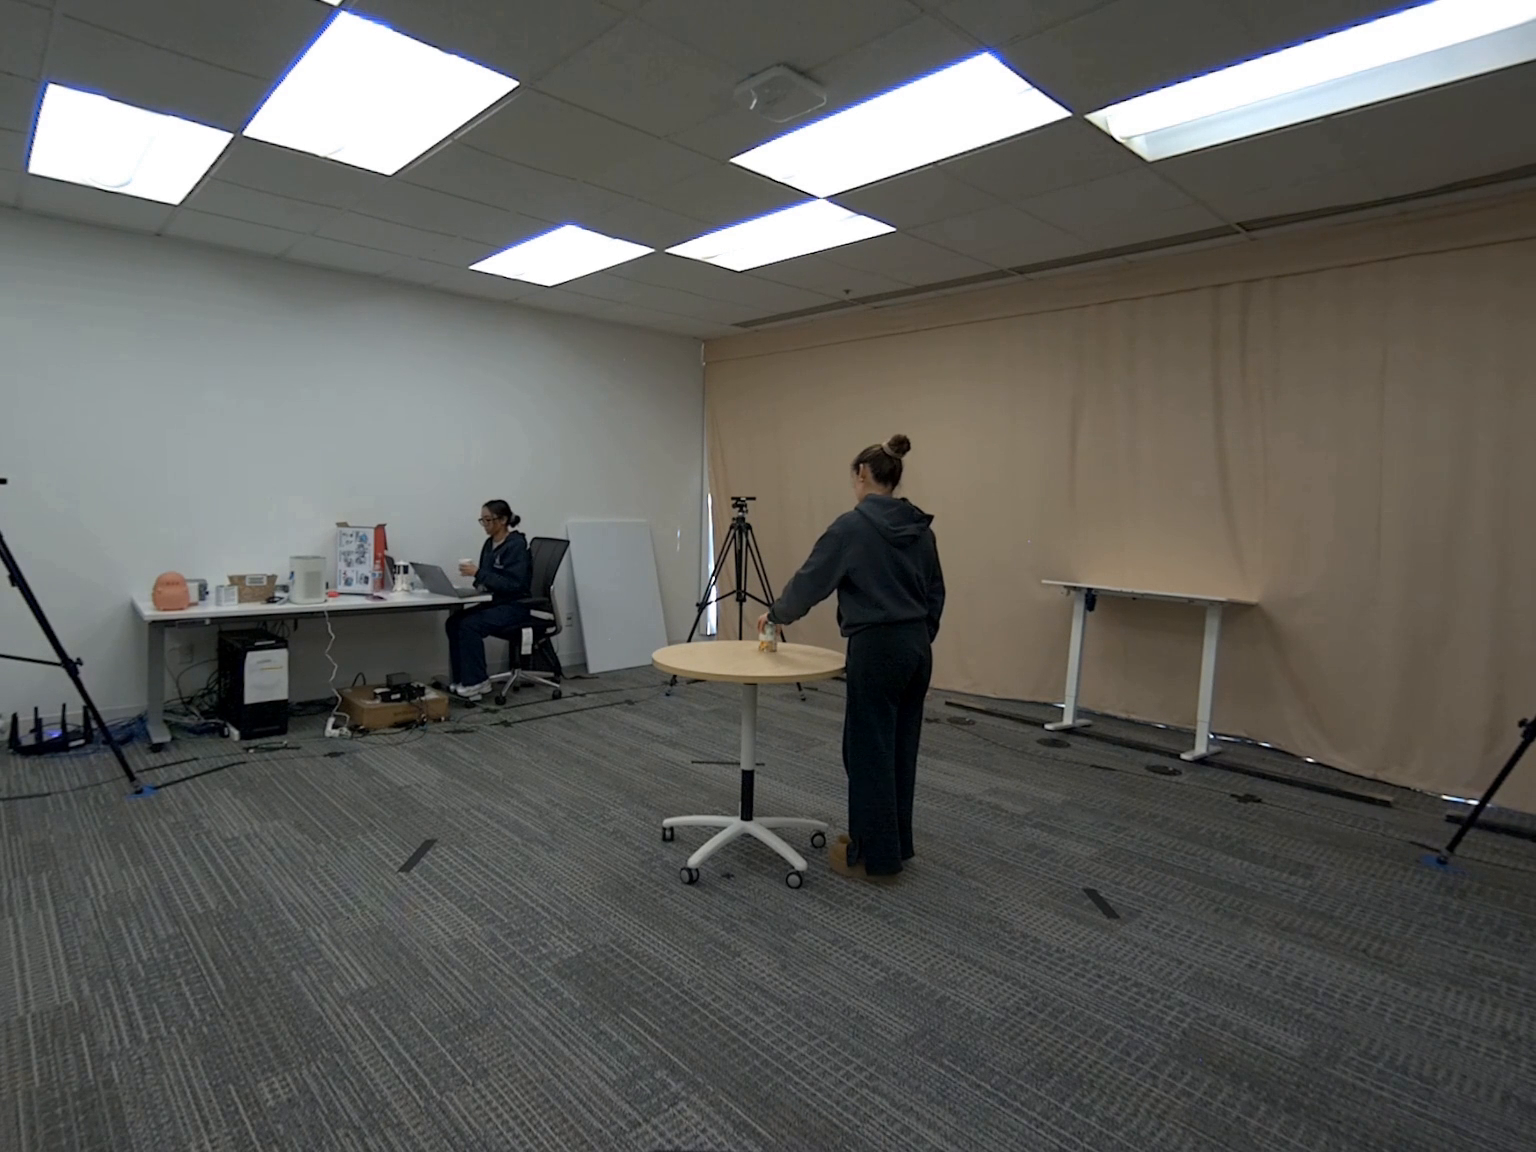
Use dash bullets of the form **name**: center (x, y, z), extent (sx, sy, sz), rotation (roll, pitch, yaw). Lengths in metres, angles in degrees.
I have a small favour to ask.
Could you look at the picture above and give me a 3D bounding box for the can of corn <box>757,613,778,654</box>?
- **can of corn**: center (0.000, 0.237, 3.406), extent (0.074, 0.110, 0.075), rotation (2, 8, -2)
